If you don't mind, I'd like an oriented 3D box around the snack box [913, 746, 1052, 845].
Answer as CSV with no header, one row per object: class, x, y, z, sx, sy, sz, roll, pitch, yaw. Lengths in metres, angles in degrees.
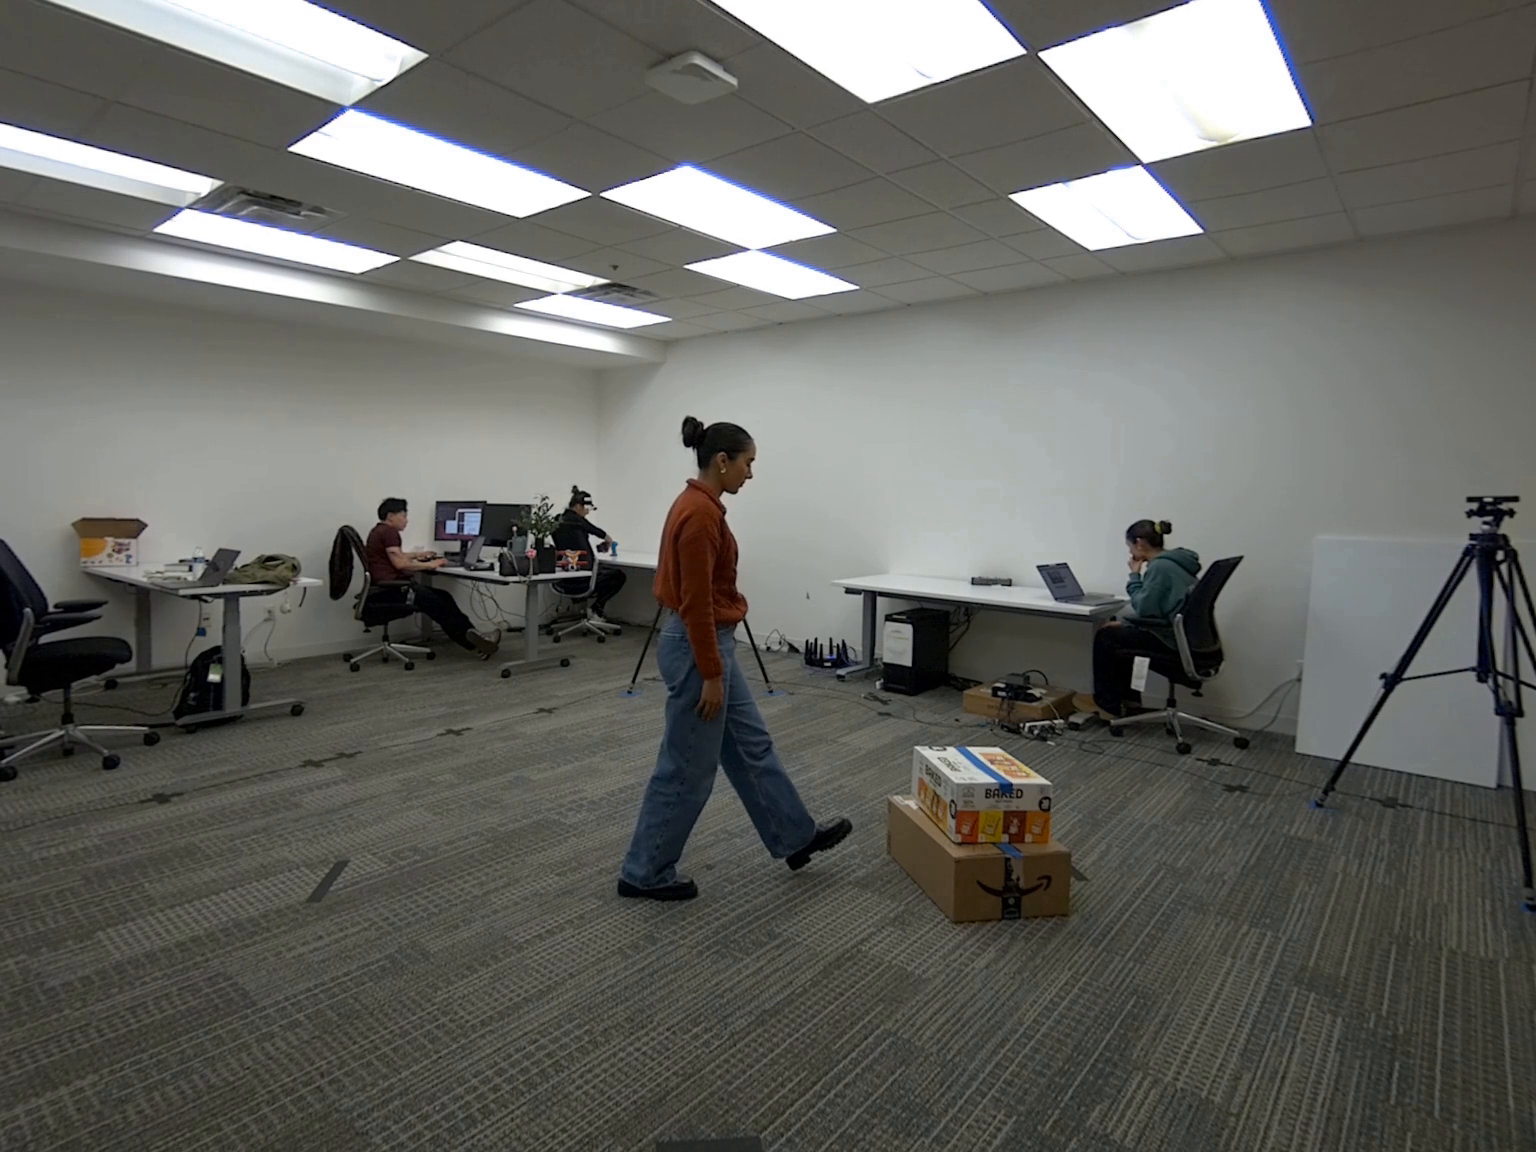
snack box,0.748,0.775,3.049,0.337,0.205,0.411,2,6,-10
